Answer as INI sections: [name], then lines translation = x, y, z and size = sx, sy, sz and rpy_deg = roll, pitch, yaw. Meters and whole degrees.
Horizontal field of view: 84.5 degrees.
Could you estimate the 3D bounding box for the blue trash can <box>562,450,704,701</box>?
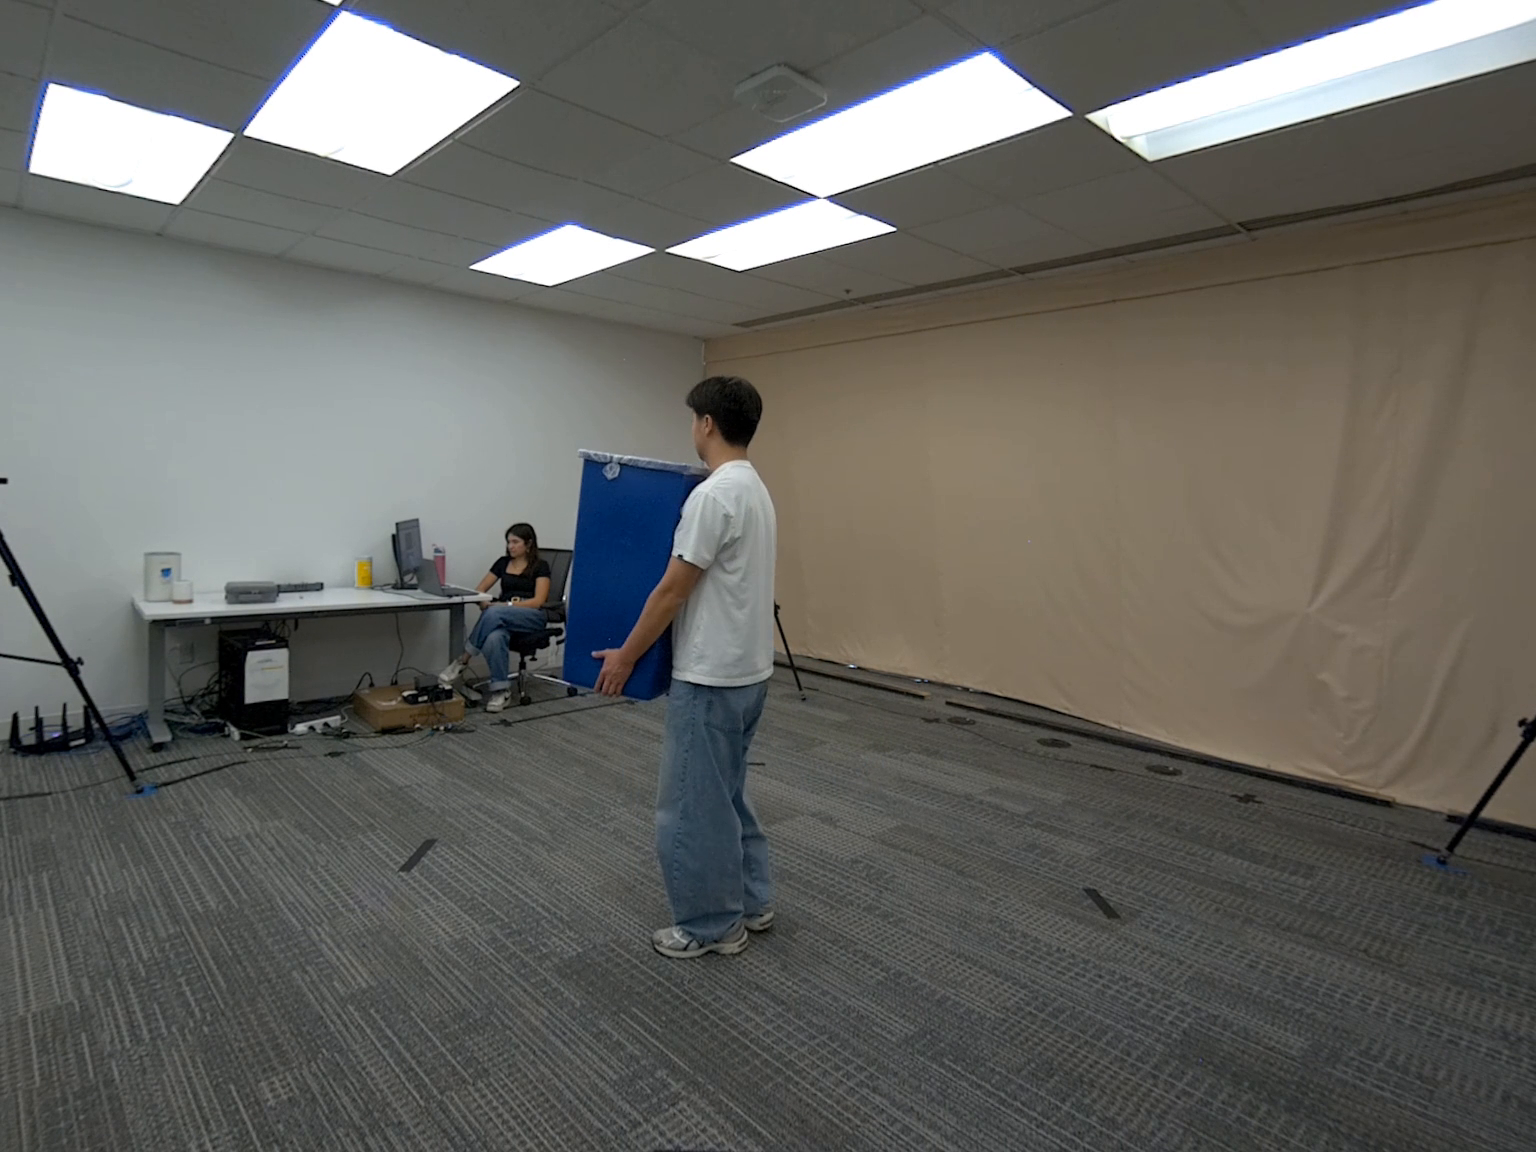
[blue trash can]
translation = -0.406, -0.015, 2.673
size = 0.384, 0.711, 0.370
rpy_deg = 10, 6, 16
